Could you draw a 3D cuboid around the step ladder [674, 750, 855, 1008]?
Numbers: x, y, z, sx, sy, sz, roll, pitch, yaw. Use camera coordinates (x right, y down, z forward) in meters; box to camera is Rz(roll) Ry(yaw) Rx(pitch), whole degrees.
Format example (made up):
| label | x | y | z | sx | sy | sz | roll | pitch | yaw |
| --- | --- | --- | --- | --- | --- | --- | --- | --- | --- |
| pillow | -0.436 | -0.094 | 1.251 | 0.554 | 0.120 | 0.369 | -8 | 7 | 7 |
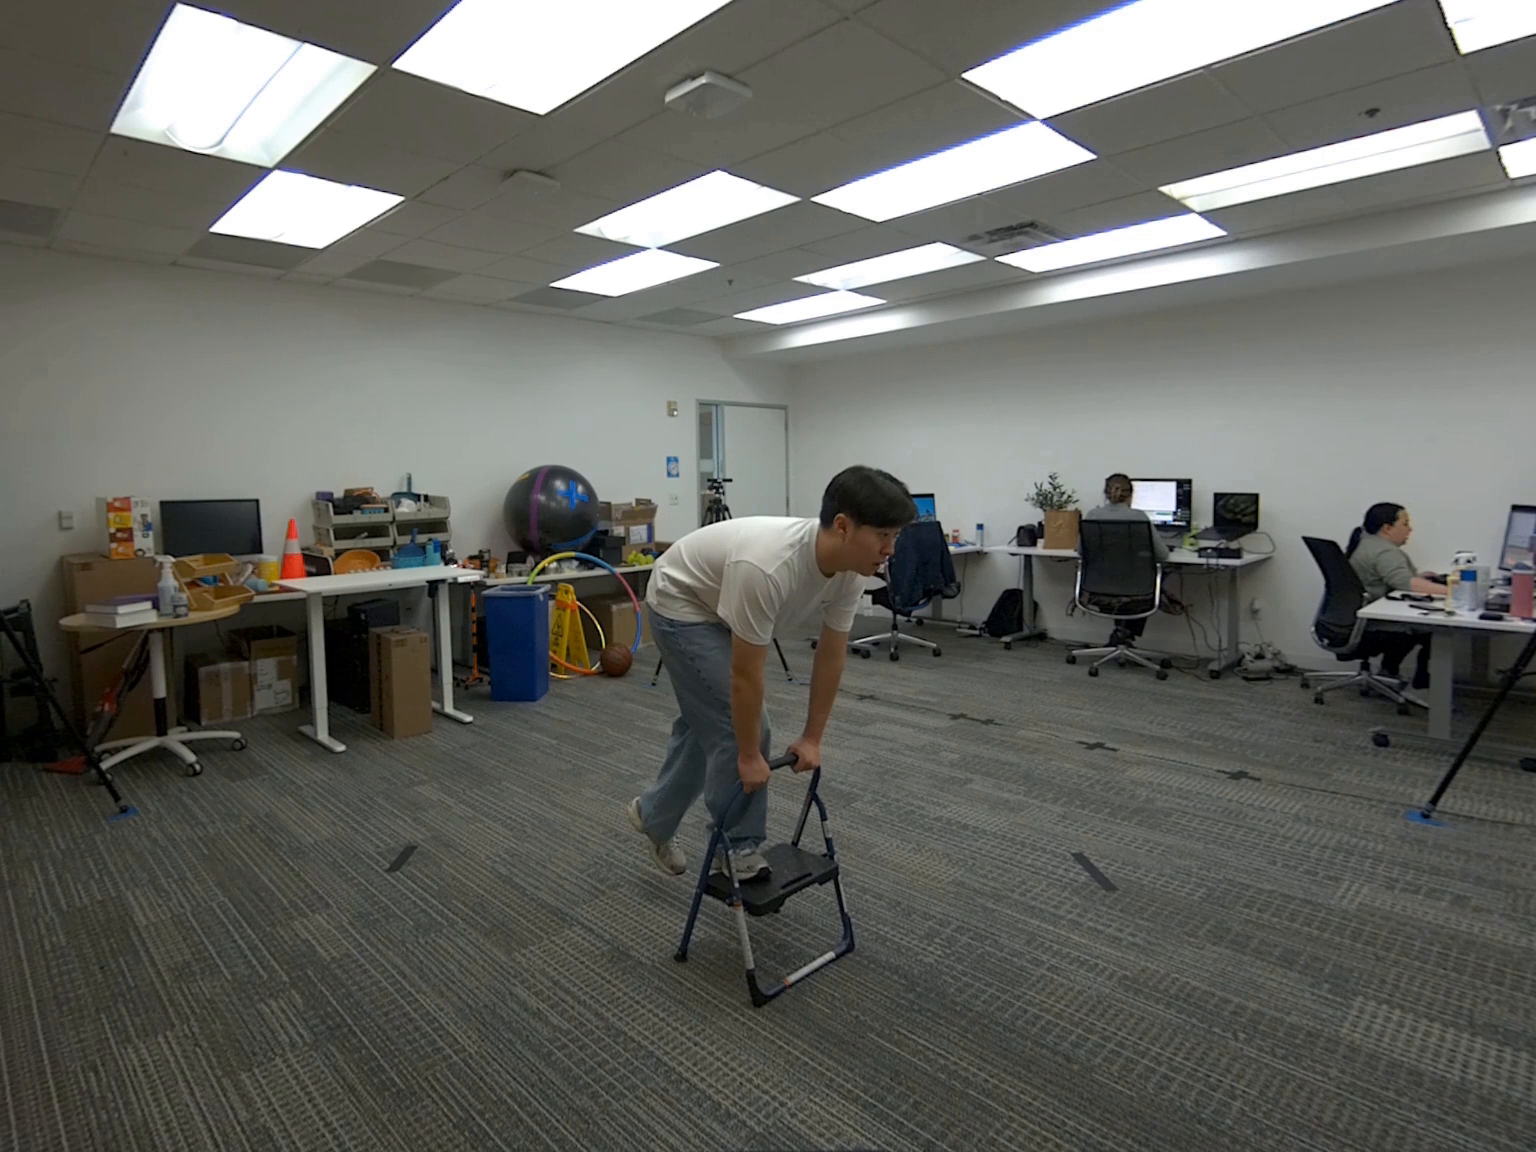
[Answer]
| label | x | y | z | sx | sy | sz | roll | pitch | yaw |
| --- | --- | --- | --- | --- | --- | --- | --- | --- | --- |
| step ladder | -0.006 | 0.812 | 2.498 | 0.360 | 0.604 | 0.419 | 3 | 6 | 45 |
